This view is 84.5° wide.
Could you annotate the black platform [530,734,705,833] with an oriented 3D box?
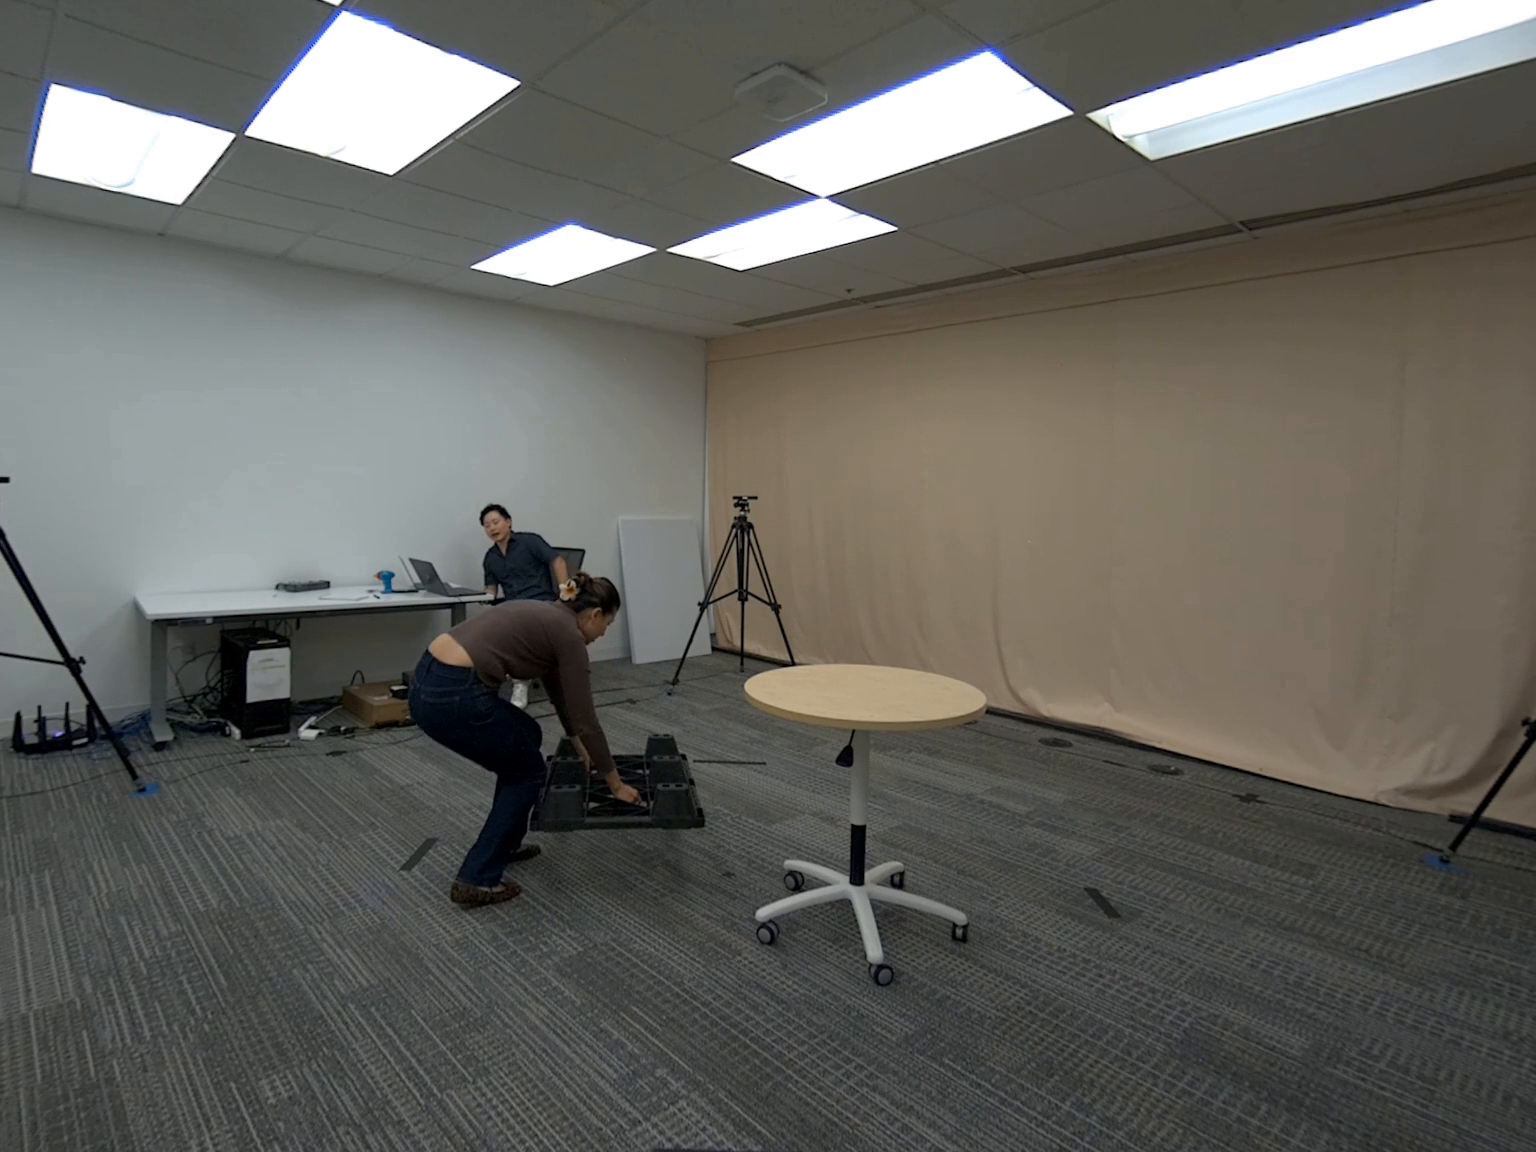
[{"bbox_3d":[-0.590,0.772,3.256,0.601,0.143,0.813,1,4,-10],"label":"black platform"}]
